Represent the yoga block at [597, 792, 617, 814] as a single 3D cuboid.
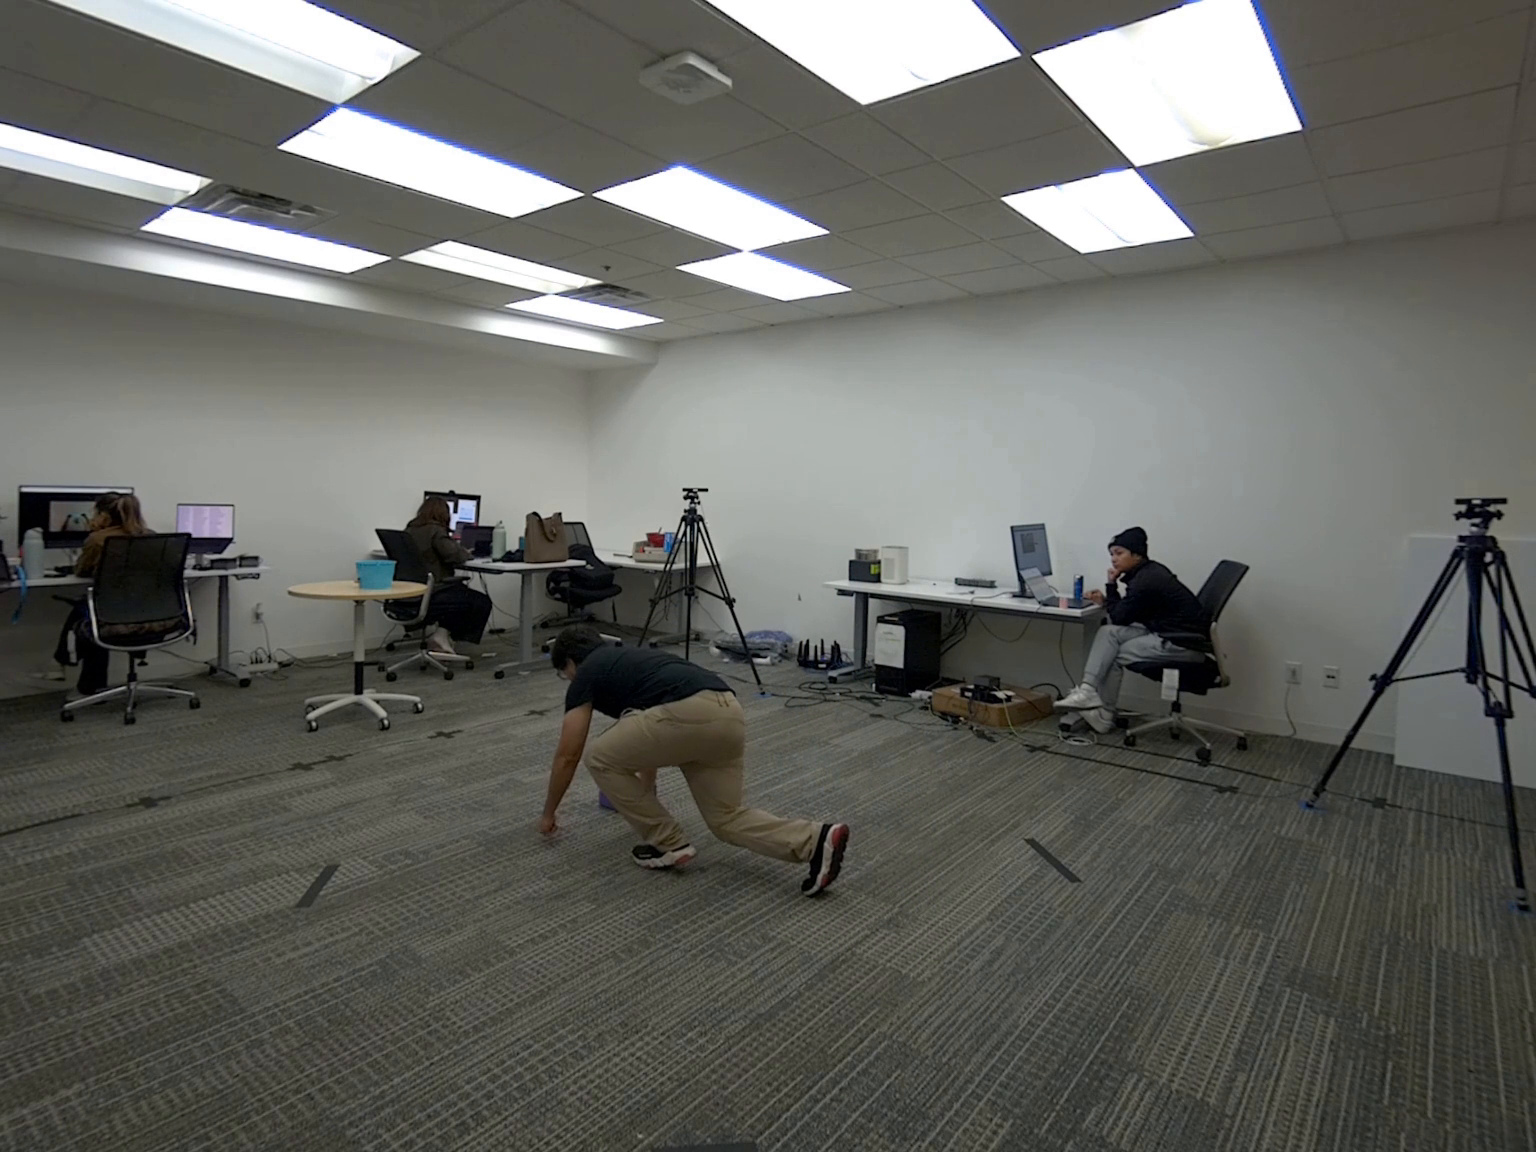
[{"bbox_3d":[-0.628,0.954,3.761,0.154,0.076,0.223,3,5,35],"label":"yoga block"}]
